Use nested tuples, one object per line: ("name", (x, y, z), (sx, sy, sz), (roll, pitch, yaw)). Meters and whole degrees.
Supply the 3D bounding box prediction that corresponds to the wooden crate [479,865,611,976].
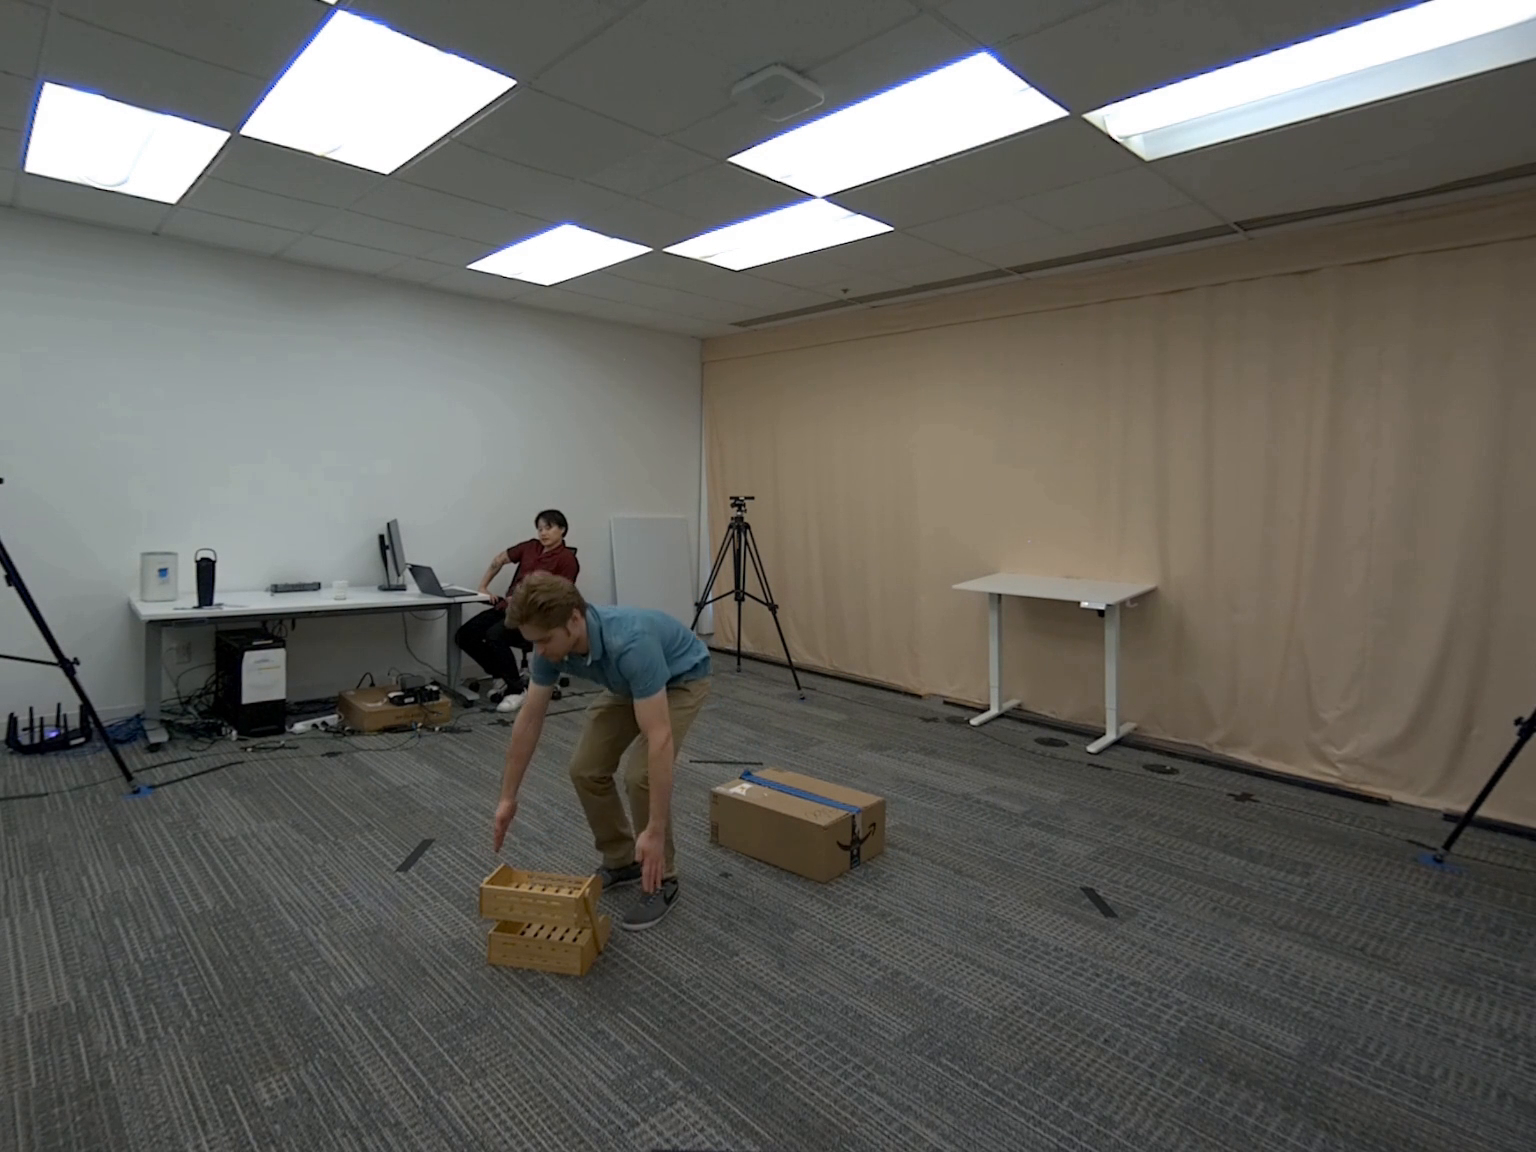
("wooden crate", (-0.668, 1.007, 2.554), (0.327, 0.272, 0.301), (2, 5, 8))
